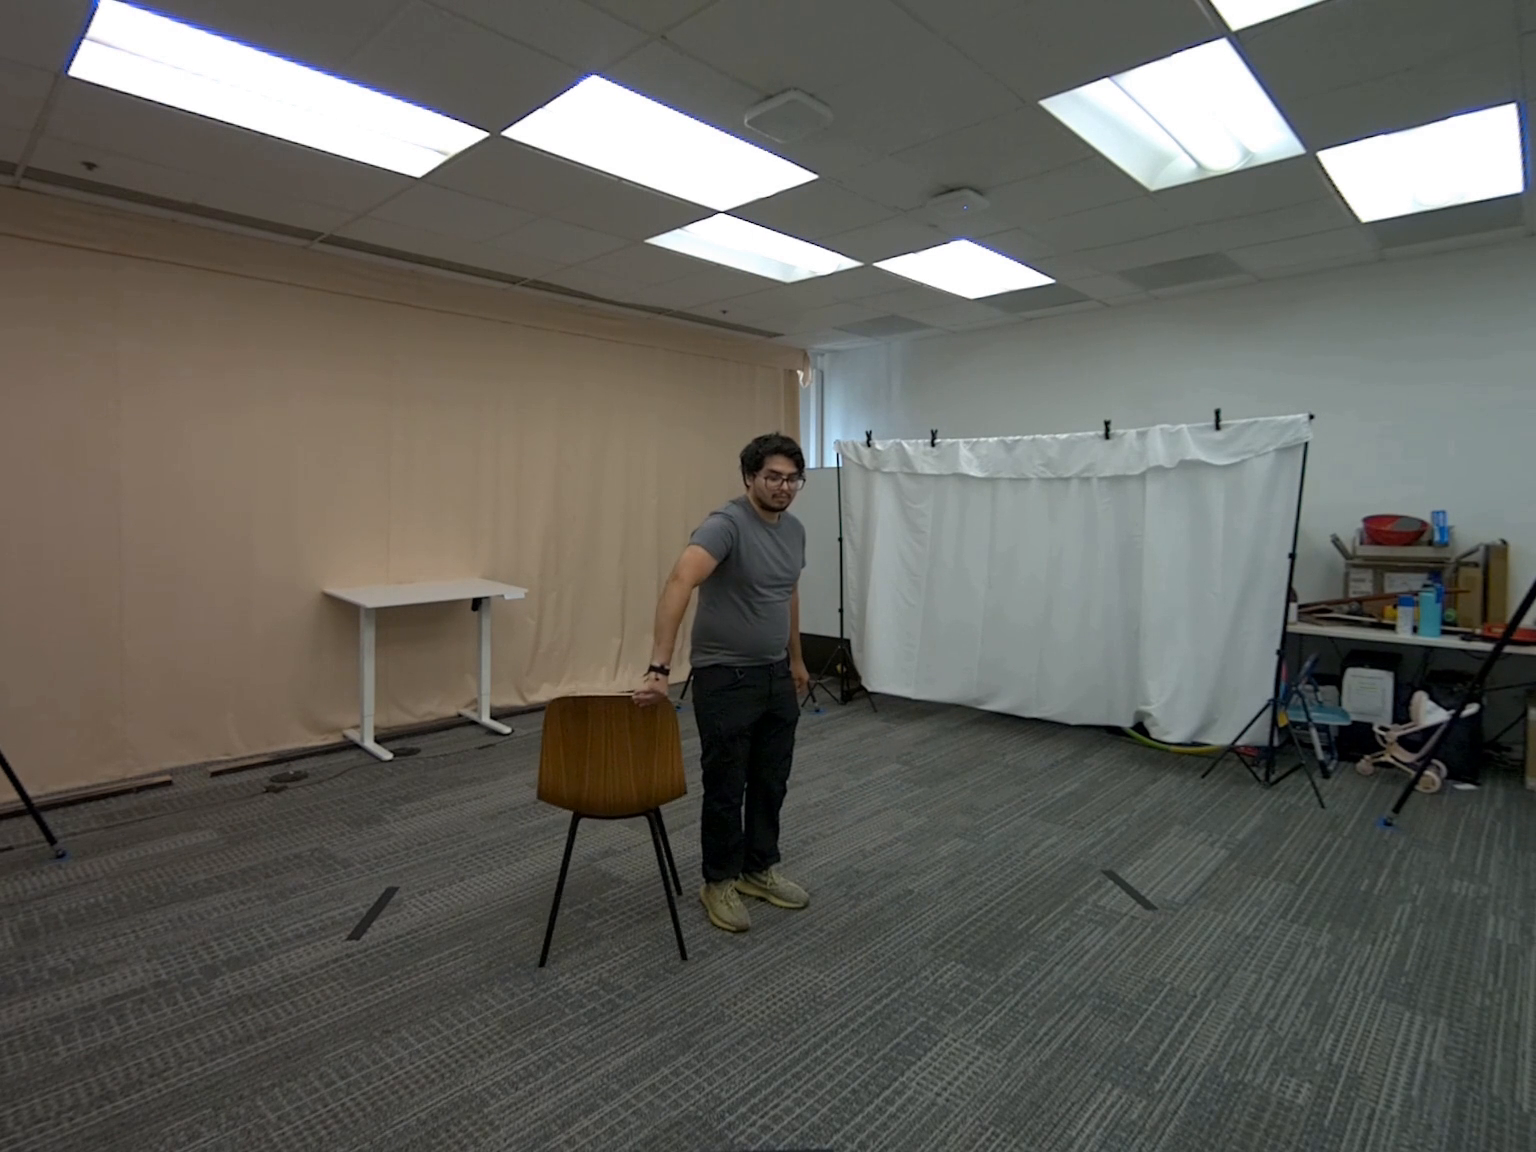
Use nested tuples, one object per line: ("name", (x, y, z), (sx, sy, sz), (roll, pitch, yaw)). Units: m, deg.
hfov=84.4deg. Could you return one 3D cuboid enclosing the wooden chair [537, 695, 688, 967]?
("wooden chair", (-0.501, 0.738, 2.761), (0.475, 0.873, 0.529), (-1, 7, -6))
